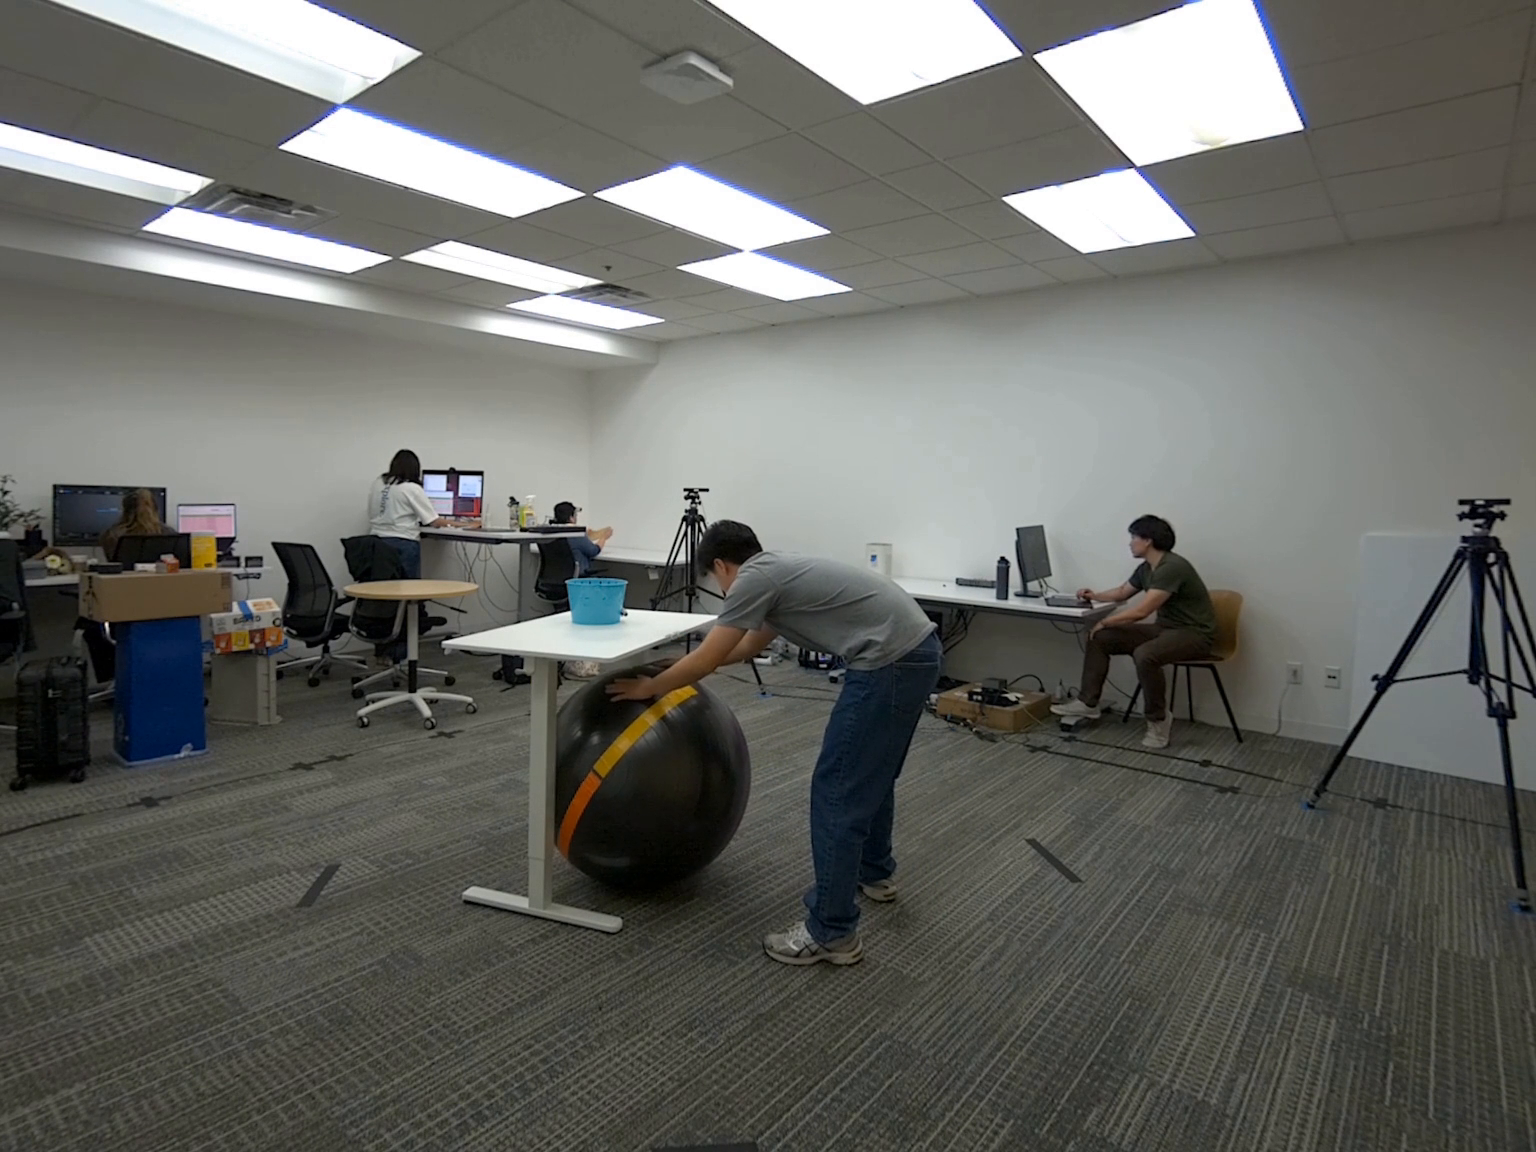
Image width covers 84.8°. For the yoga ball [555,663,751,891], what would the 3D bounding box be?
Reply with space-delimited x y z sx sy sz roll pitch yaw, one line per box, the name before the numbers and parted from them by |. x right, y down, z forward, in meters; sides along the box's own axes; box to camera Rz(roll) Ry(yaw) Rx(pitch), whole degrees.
yoga ball | -0.451 0.704 3.013 0.757 0.755 0.762 1 4 -2
